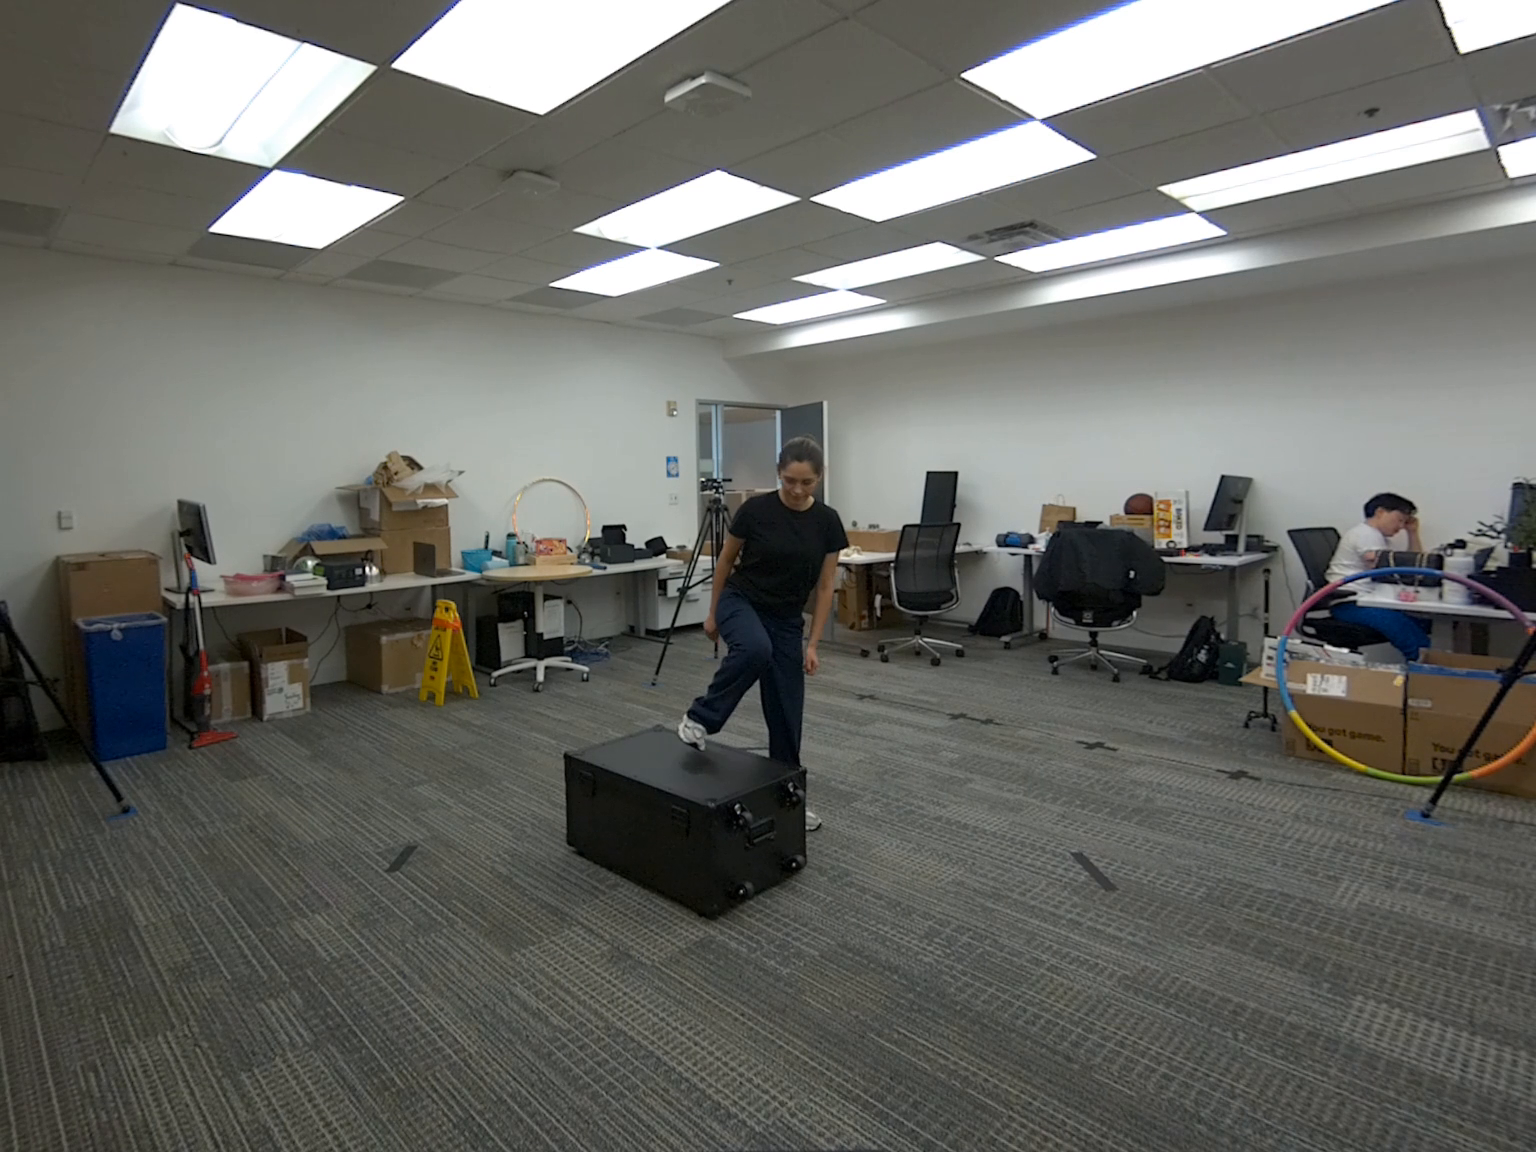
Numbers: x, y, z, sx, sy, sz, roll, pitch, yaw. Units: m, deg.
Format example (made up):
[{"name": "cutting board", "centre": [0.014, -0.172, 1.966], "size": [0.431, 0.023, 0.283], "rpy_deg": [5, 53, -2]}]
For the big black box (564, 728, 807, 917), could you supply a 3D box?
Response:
[{"name": "big black box", "centre": [-0.293, 0.859, 3.106], "size": [0.888, 0.395, 0.507], "rpy_deg": [4, 7, 42]}]
